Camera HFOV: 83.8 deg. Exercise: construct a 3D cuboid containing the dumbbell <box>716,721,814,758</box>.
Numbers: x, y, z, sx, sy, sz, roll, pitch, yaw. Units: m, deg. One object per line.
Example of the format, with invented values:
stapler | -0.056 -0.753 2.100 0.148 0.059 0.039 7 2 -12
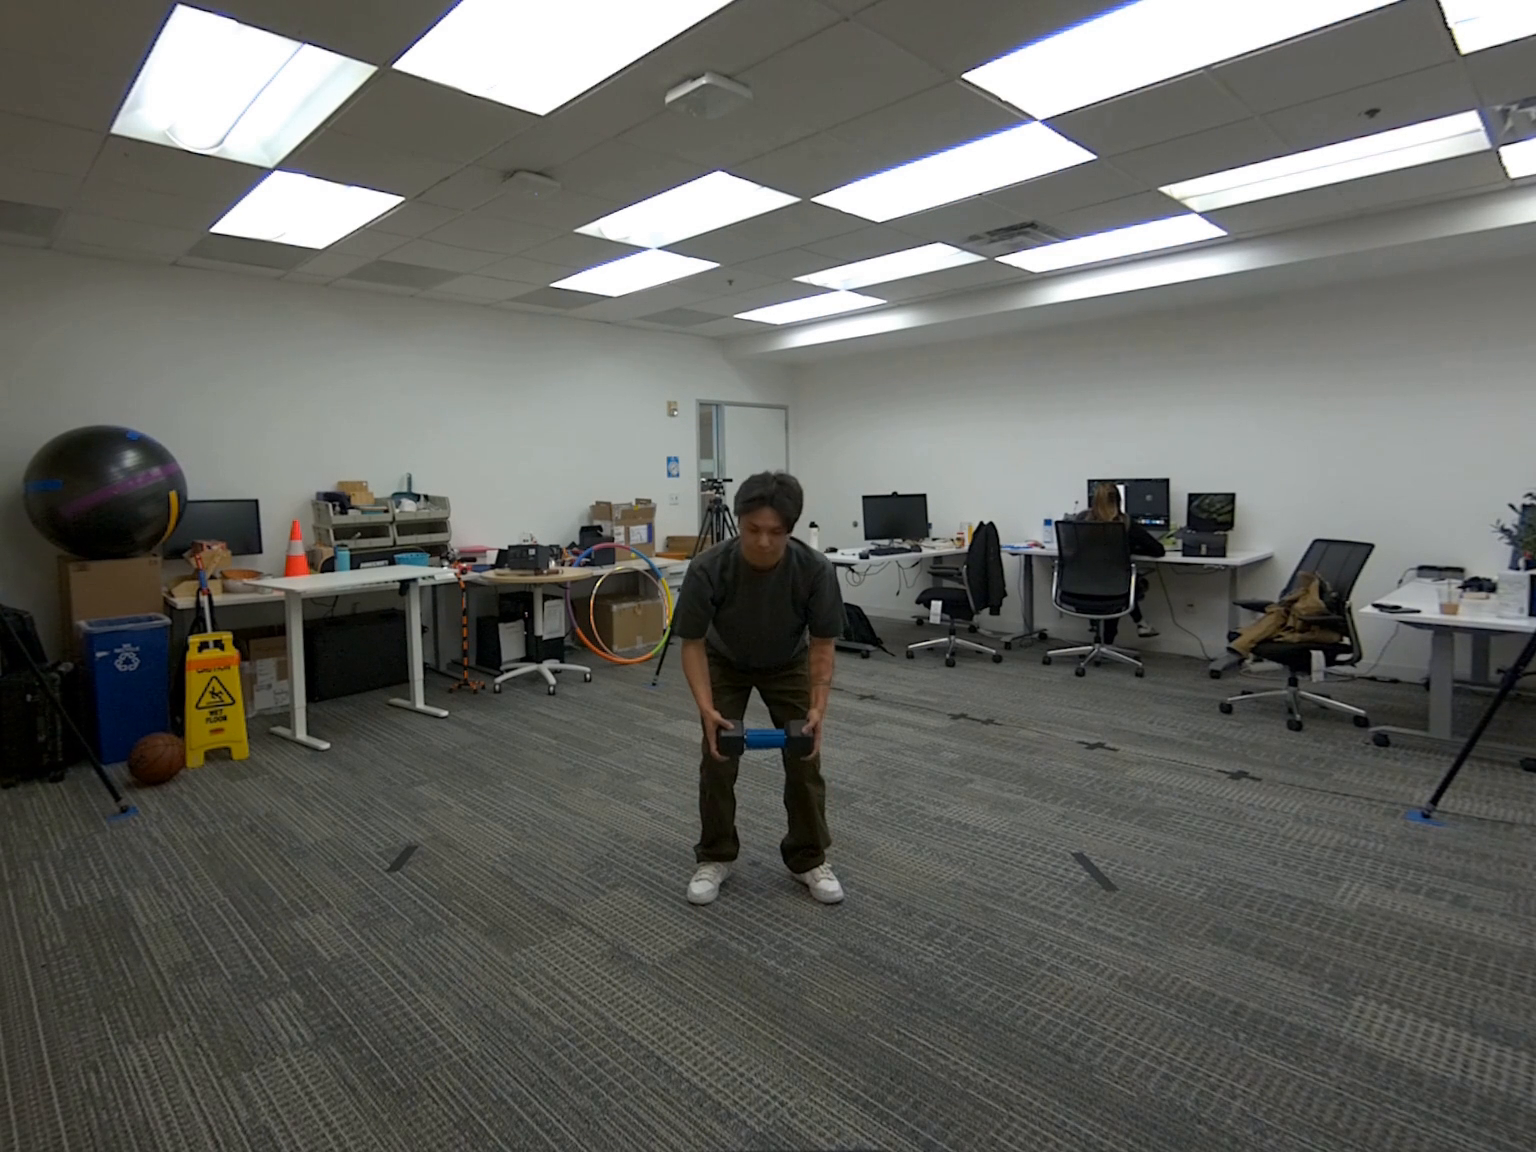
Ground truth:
dumbbell | -0.014 0.511 2.663 0.293 0.106 0.126 0 40 -3
